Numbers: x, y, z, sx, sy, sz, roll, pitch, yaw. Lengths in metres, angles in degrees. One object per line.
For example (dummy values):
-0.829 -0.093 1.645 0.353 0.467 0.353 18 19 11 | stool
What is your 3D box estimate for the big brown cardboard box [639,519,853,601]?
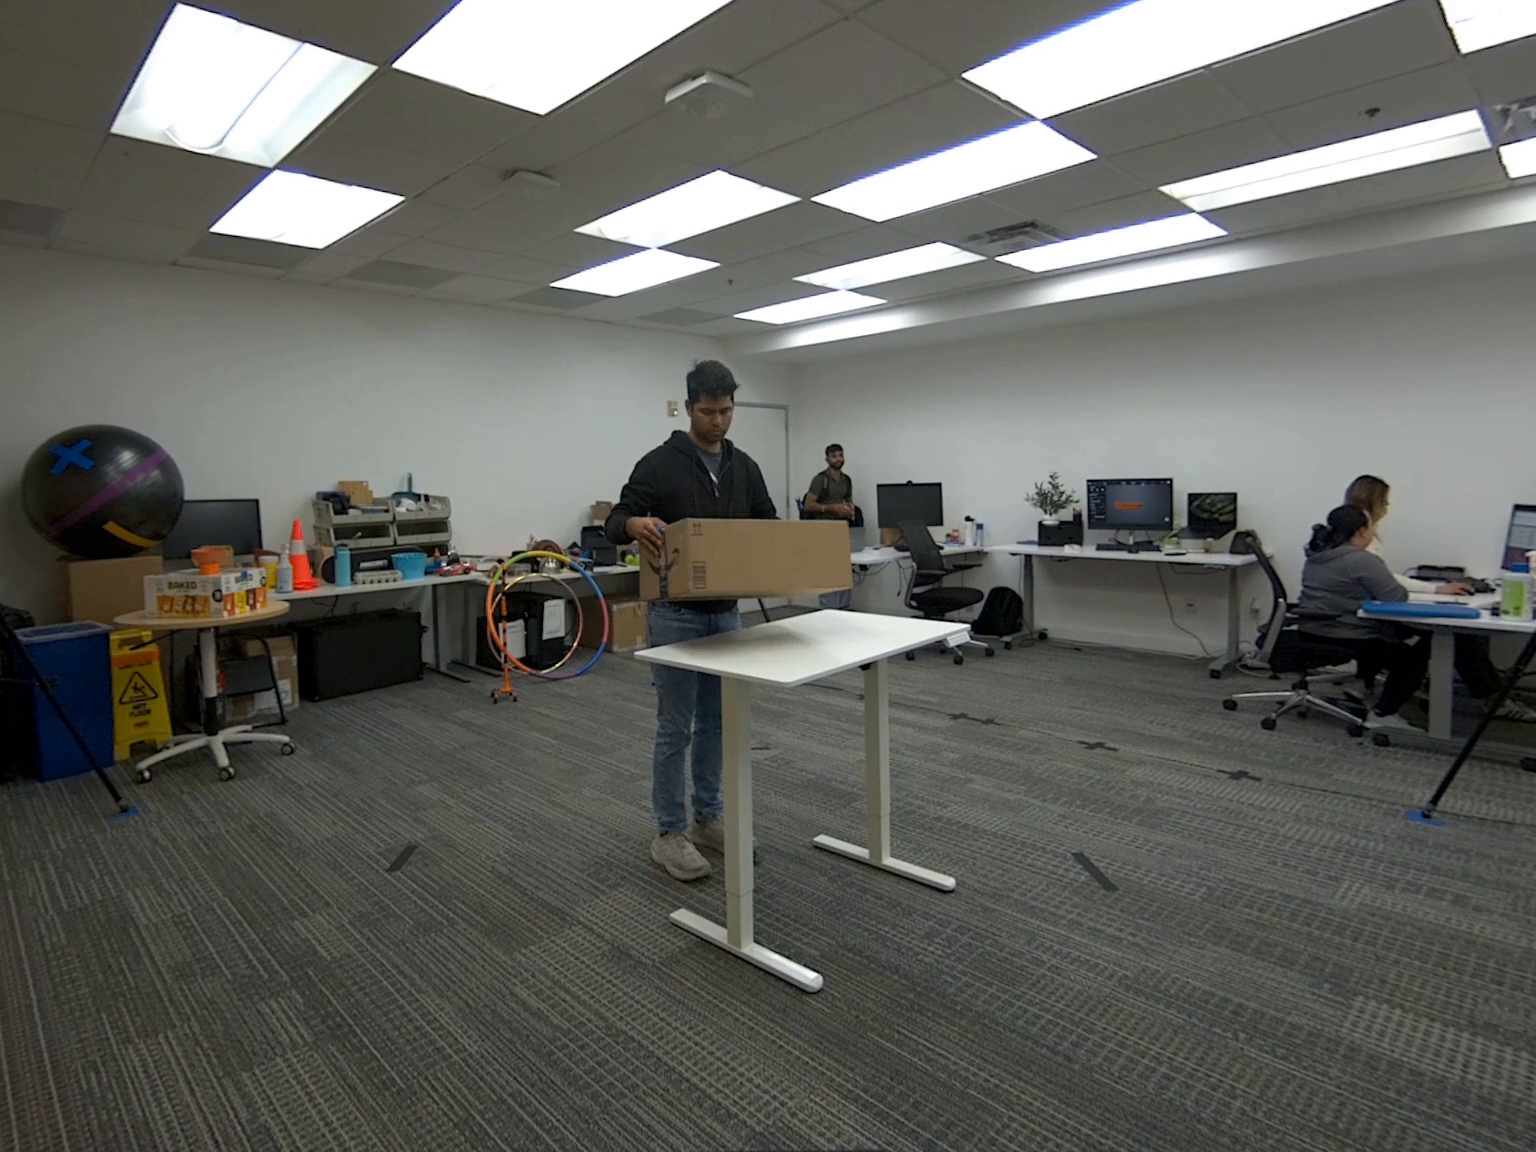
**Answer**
-0.094 -0.041 2.767 0.575 0.234 0.425 0 -5 -27 | big brown cardboard box
